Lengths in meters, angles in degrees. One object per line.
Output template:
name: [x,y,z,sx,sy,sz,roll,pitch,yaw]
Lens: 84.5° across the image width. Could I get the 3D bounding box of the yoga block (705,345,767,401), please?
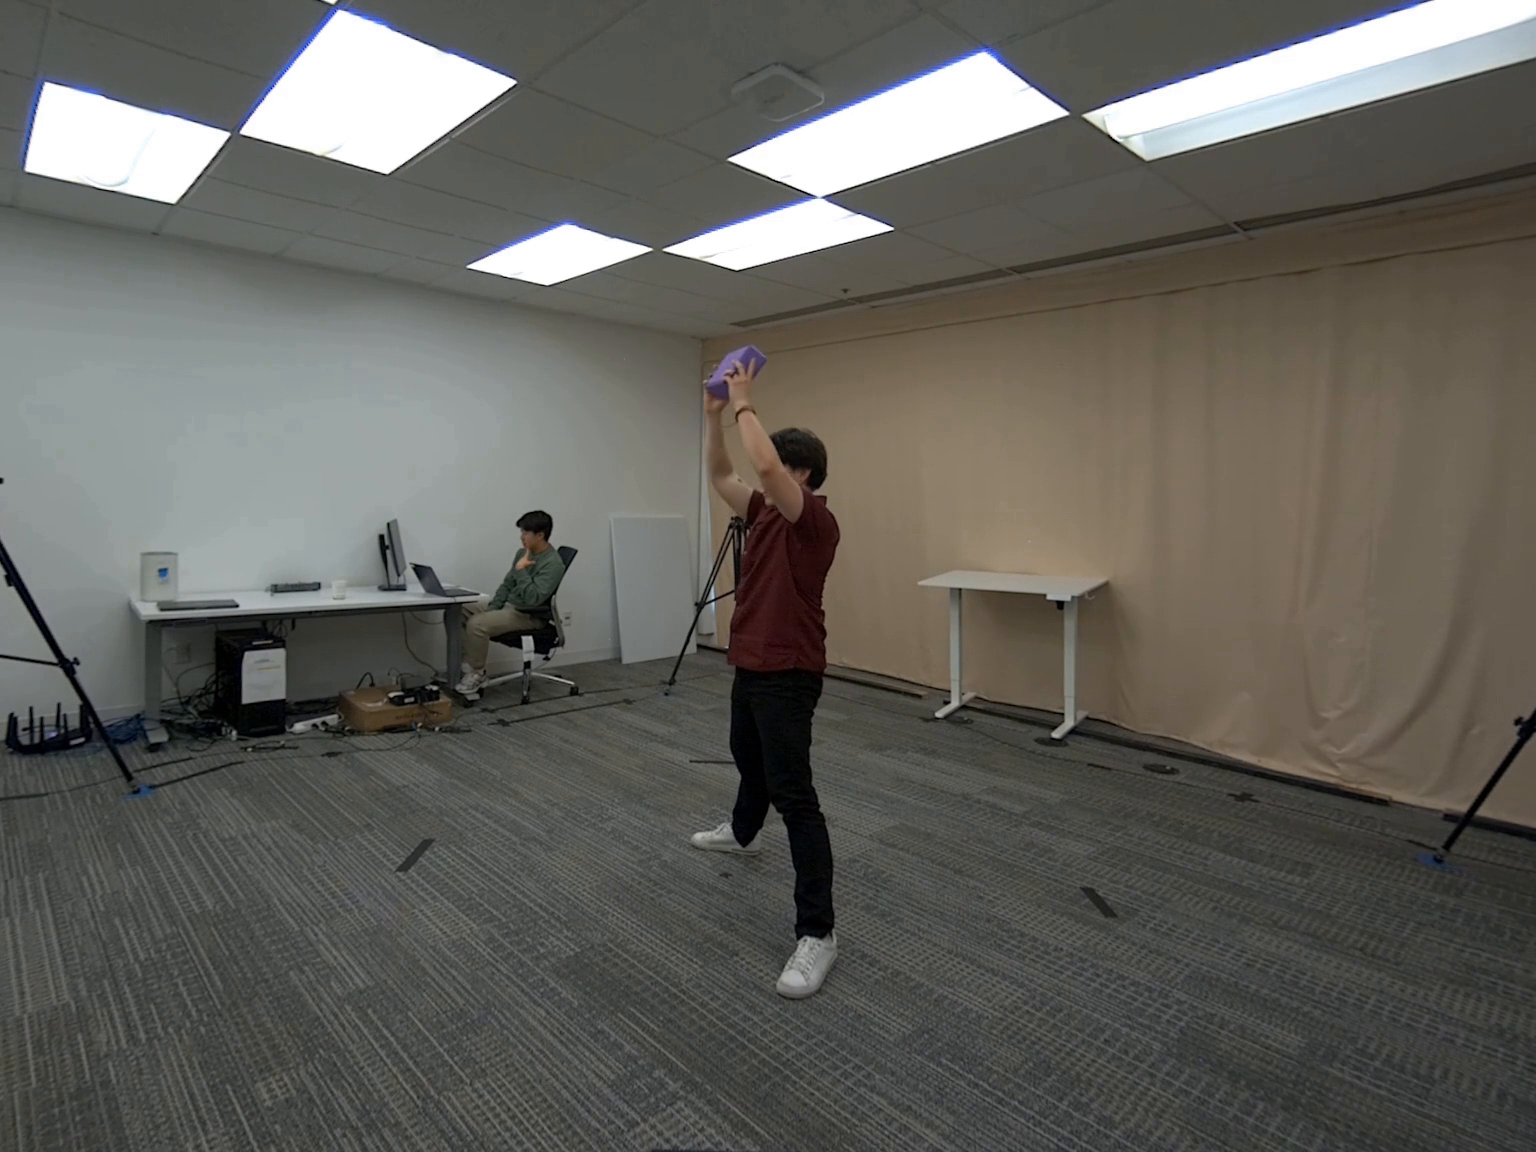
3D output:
yoga block: [-0.127,-0.659,2.775,0.075,0.149,0.233,38,-7,-20]
